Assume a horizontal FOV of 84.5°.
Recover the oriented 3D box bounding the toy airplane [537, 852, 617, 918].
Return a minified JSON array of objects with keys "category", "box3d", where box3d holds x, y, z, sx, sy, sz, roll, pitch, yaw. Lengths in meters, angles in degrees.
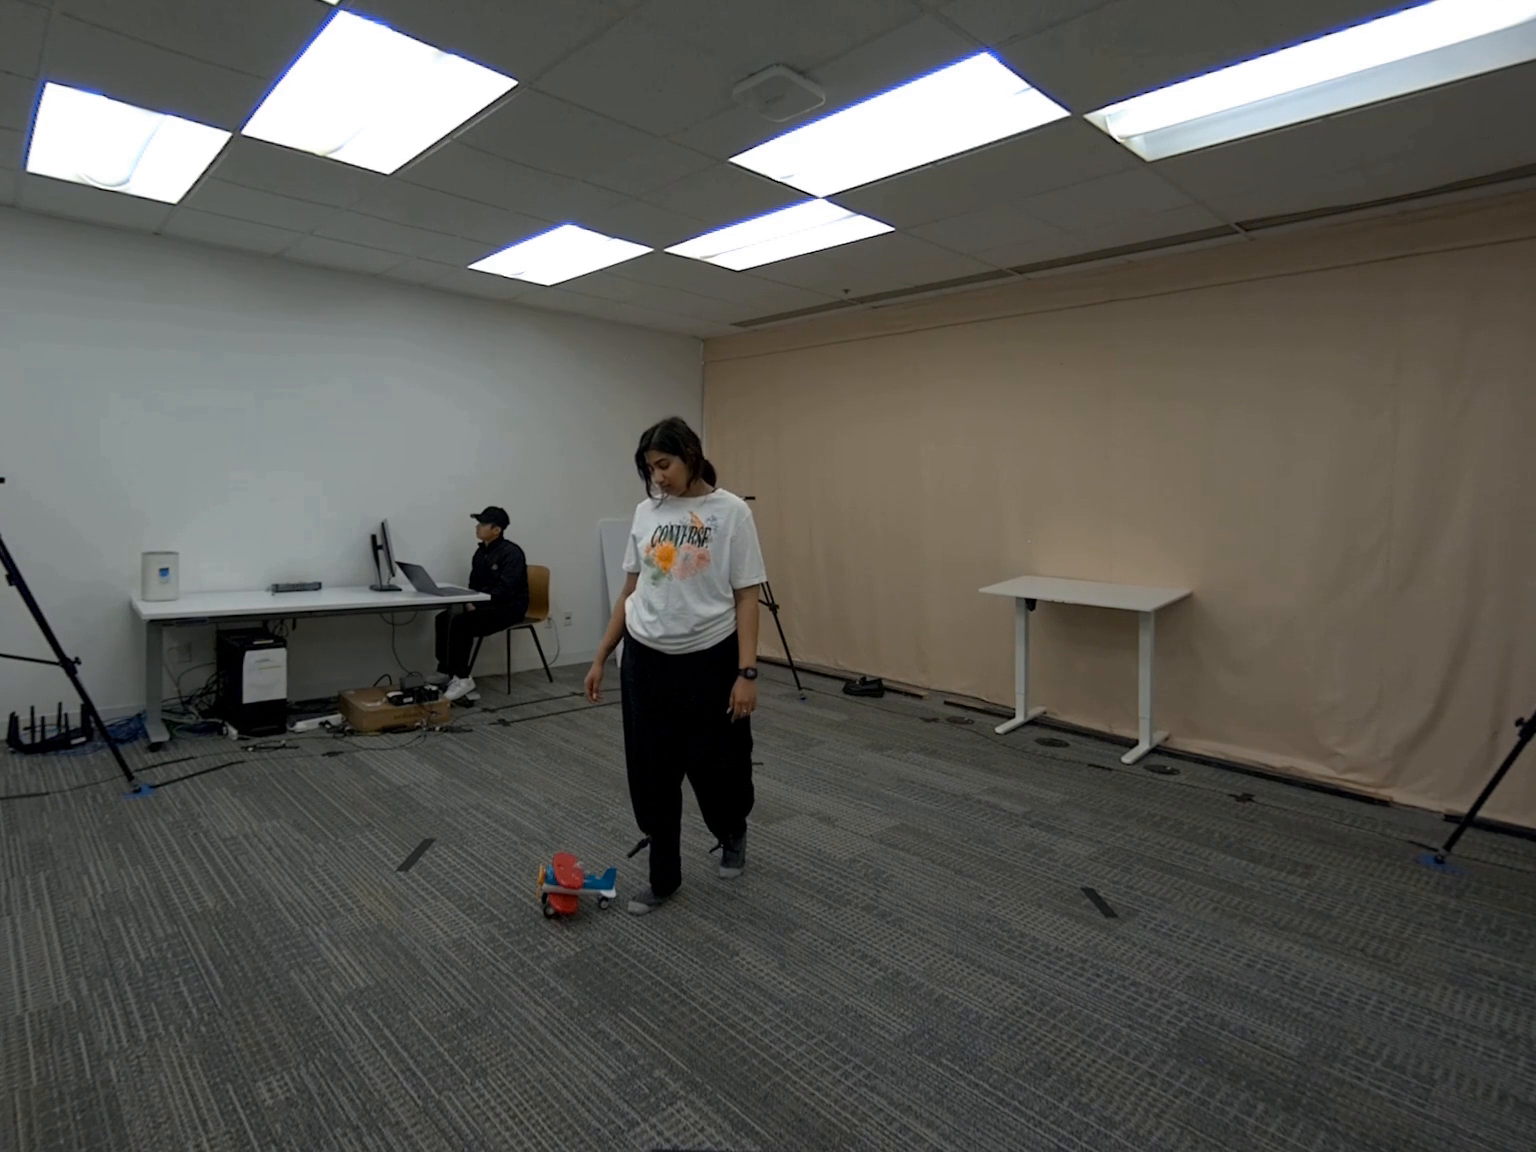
[{"category":"toy airplane","box3d":[-0.660,1.045,2.835,0.253,0.156,0.257,-4,7,-44]}]
